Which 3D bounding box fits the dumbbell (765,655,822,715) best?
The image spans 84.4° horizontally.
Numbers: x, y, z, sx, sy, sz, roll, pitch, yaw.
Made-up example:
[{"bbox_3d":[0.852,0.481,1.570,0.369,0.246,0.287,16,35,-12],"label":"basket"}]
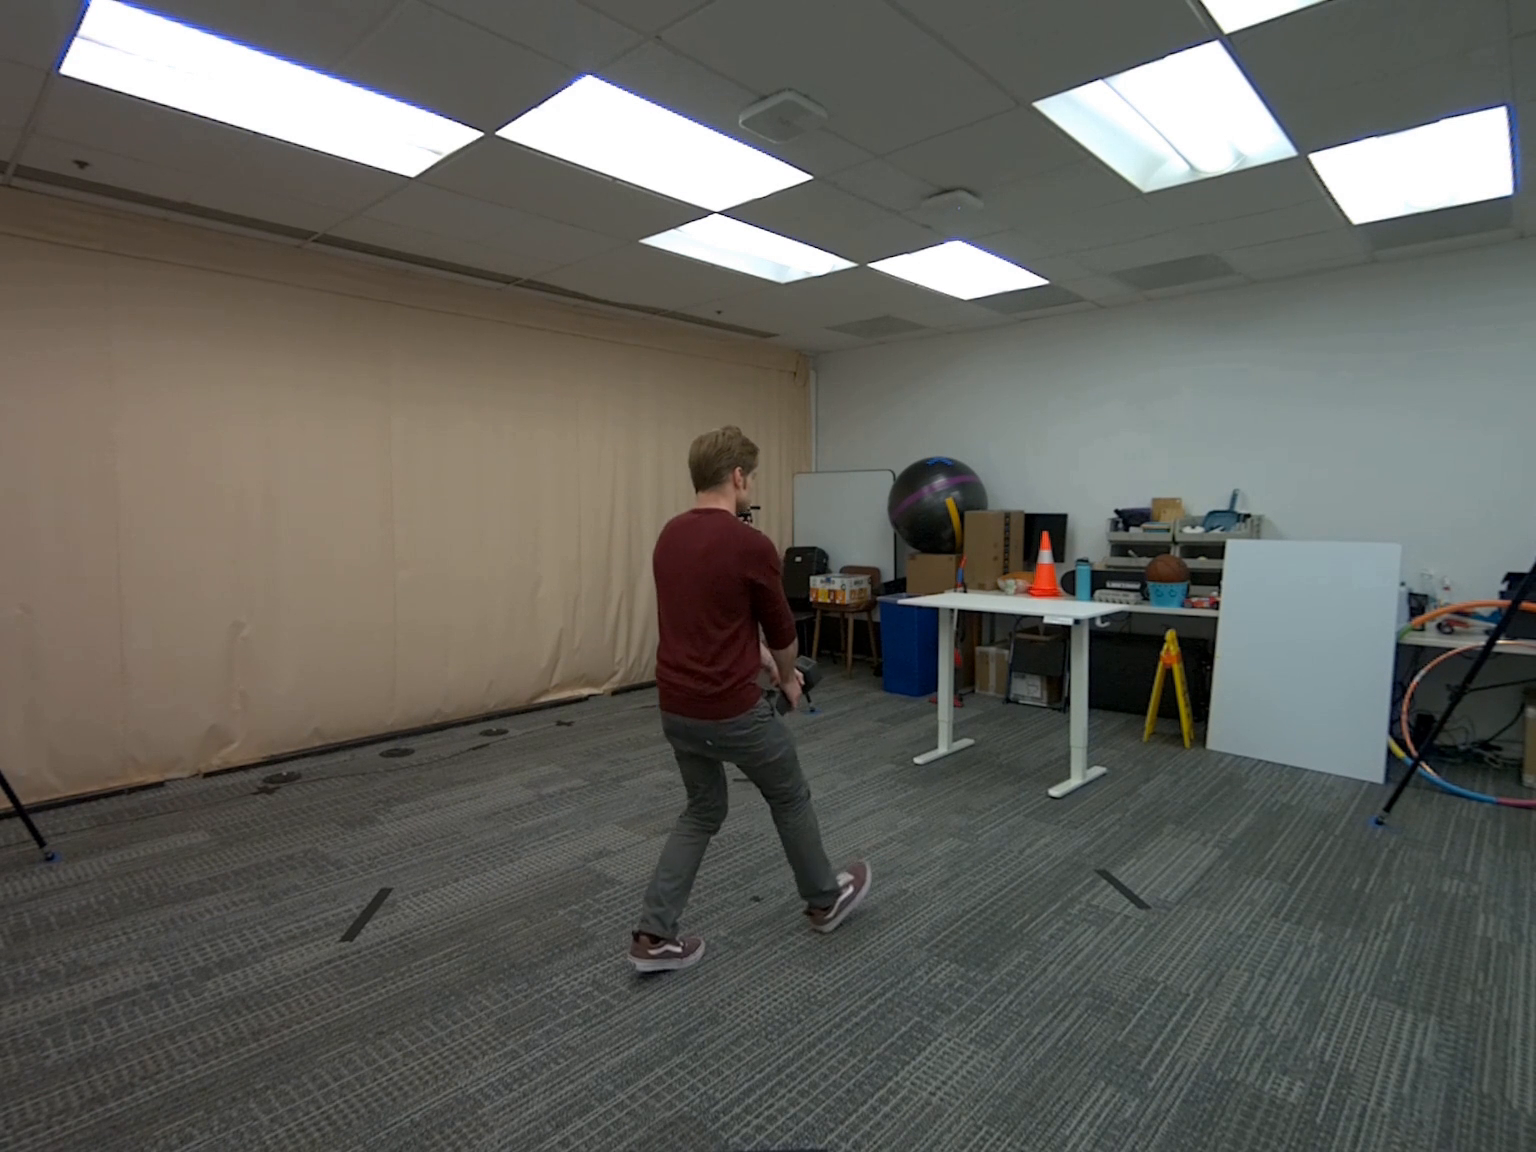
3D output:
[{"bbox_3d":[0.077,0.395,2.836,0.288,0.110,0.123,-34,-14,-46],"label":"dumbbell"}]
